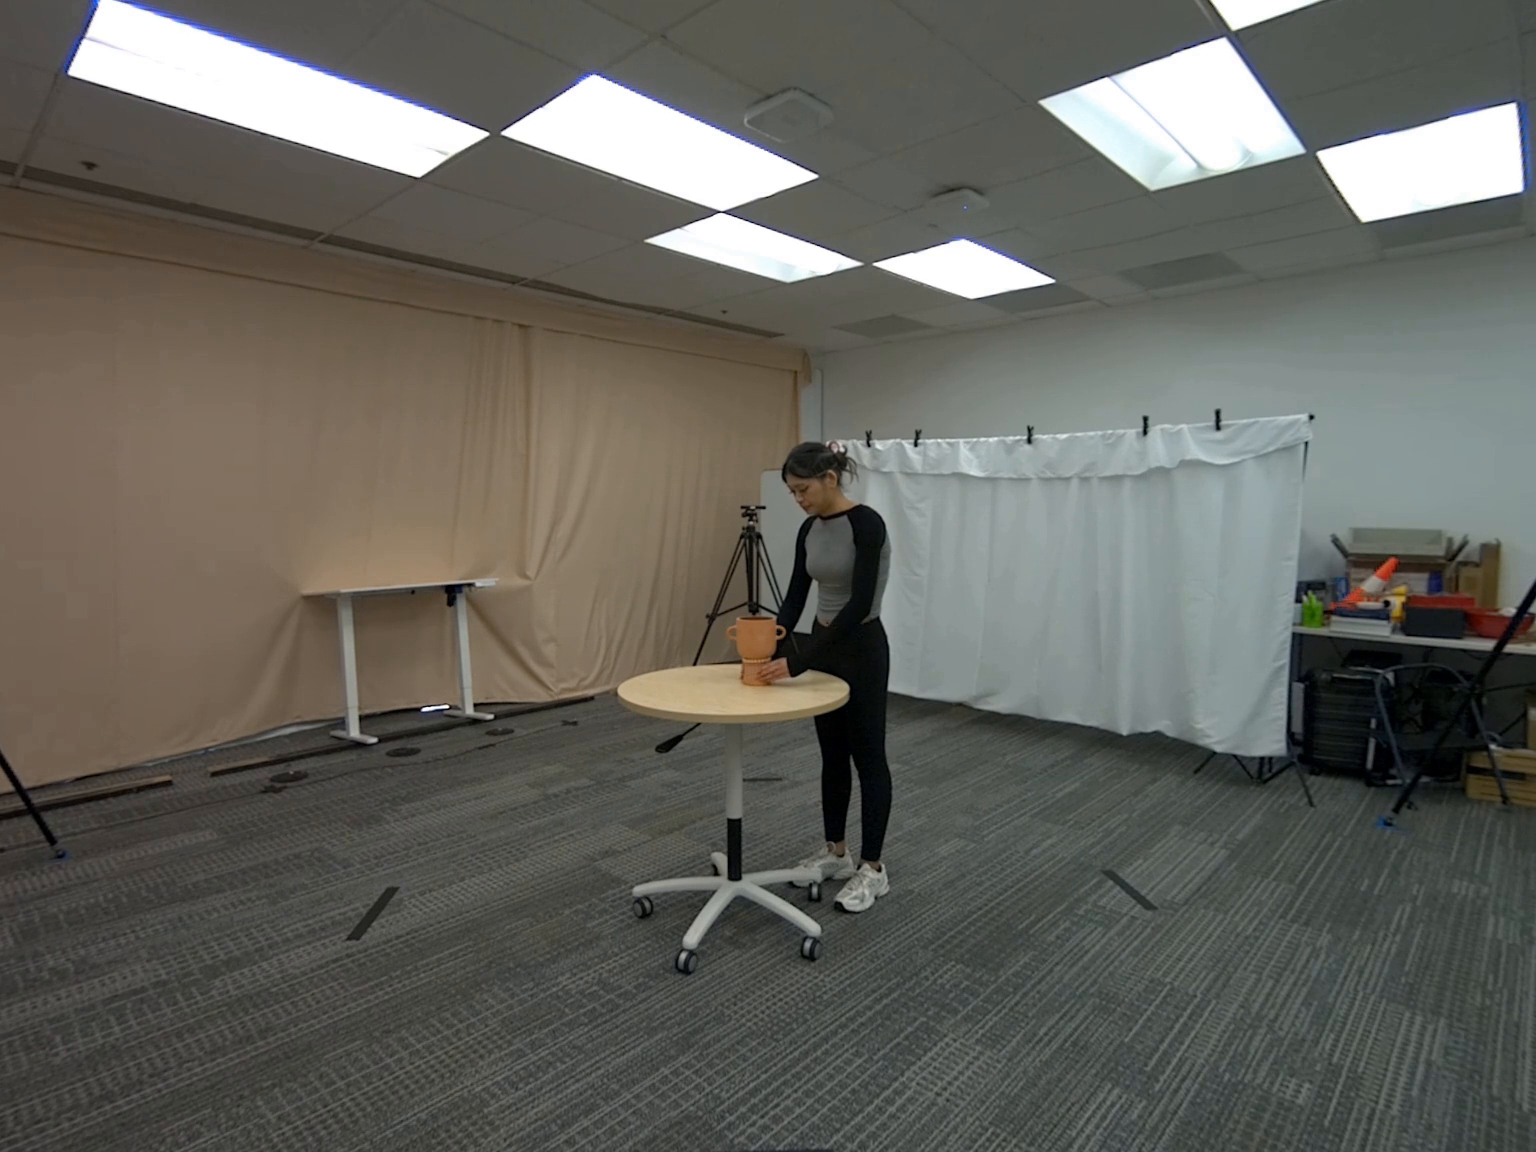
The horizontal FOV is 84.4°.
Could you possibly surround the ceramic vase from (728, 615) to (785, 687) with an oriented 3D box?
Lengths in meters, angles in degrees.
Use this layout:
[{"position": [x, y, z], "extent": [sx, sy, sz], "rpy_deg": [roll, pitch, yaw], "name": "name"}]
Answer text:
[{"position": [-0.029, 0.250, 2.833], "extent": [0.164, 0.219, 0.130], "rpy_deg": [3, 5, 39], "name": "ceramic vase"}]
